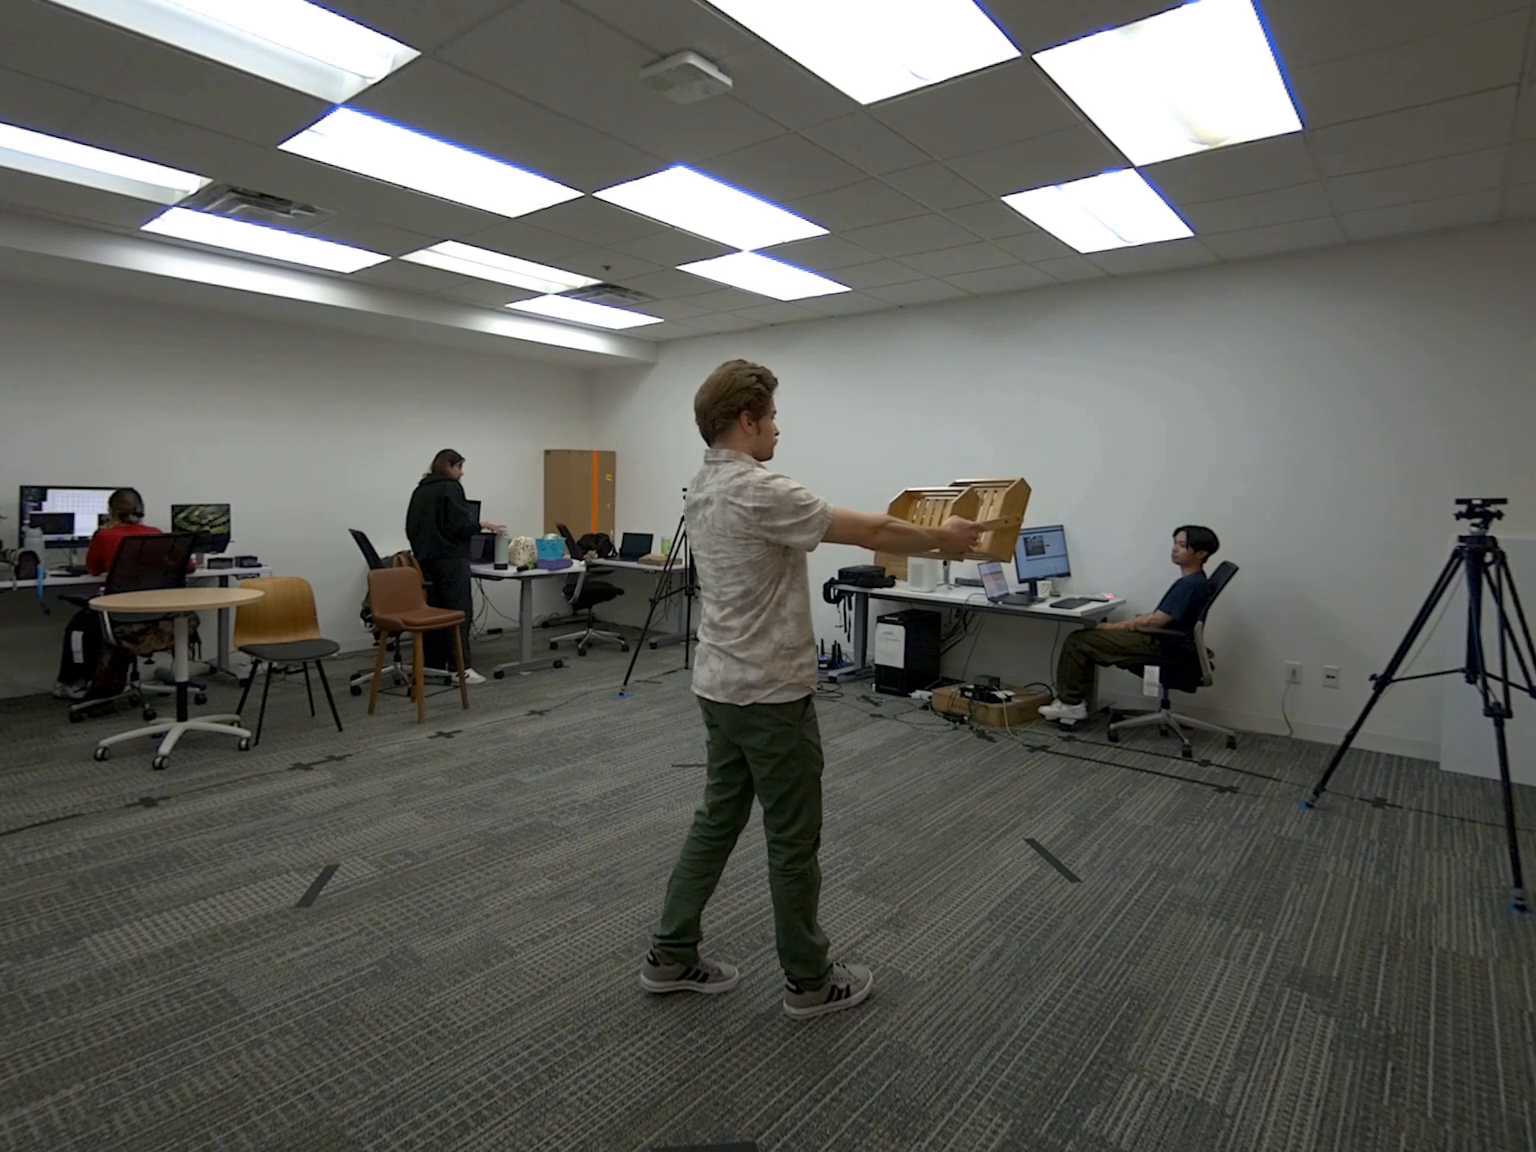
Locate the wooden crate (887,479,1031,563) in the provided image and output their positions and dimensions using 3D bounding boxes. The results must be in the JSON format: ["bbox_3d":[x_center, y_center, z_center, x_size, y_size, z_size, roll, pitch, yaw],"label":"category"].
[{"bbox_3d":[0.554,-0.185,2.558,0.265,0.303,0.333,20,-6,-26],"label":"wooden crate"}]
